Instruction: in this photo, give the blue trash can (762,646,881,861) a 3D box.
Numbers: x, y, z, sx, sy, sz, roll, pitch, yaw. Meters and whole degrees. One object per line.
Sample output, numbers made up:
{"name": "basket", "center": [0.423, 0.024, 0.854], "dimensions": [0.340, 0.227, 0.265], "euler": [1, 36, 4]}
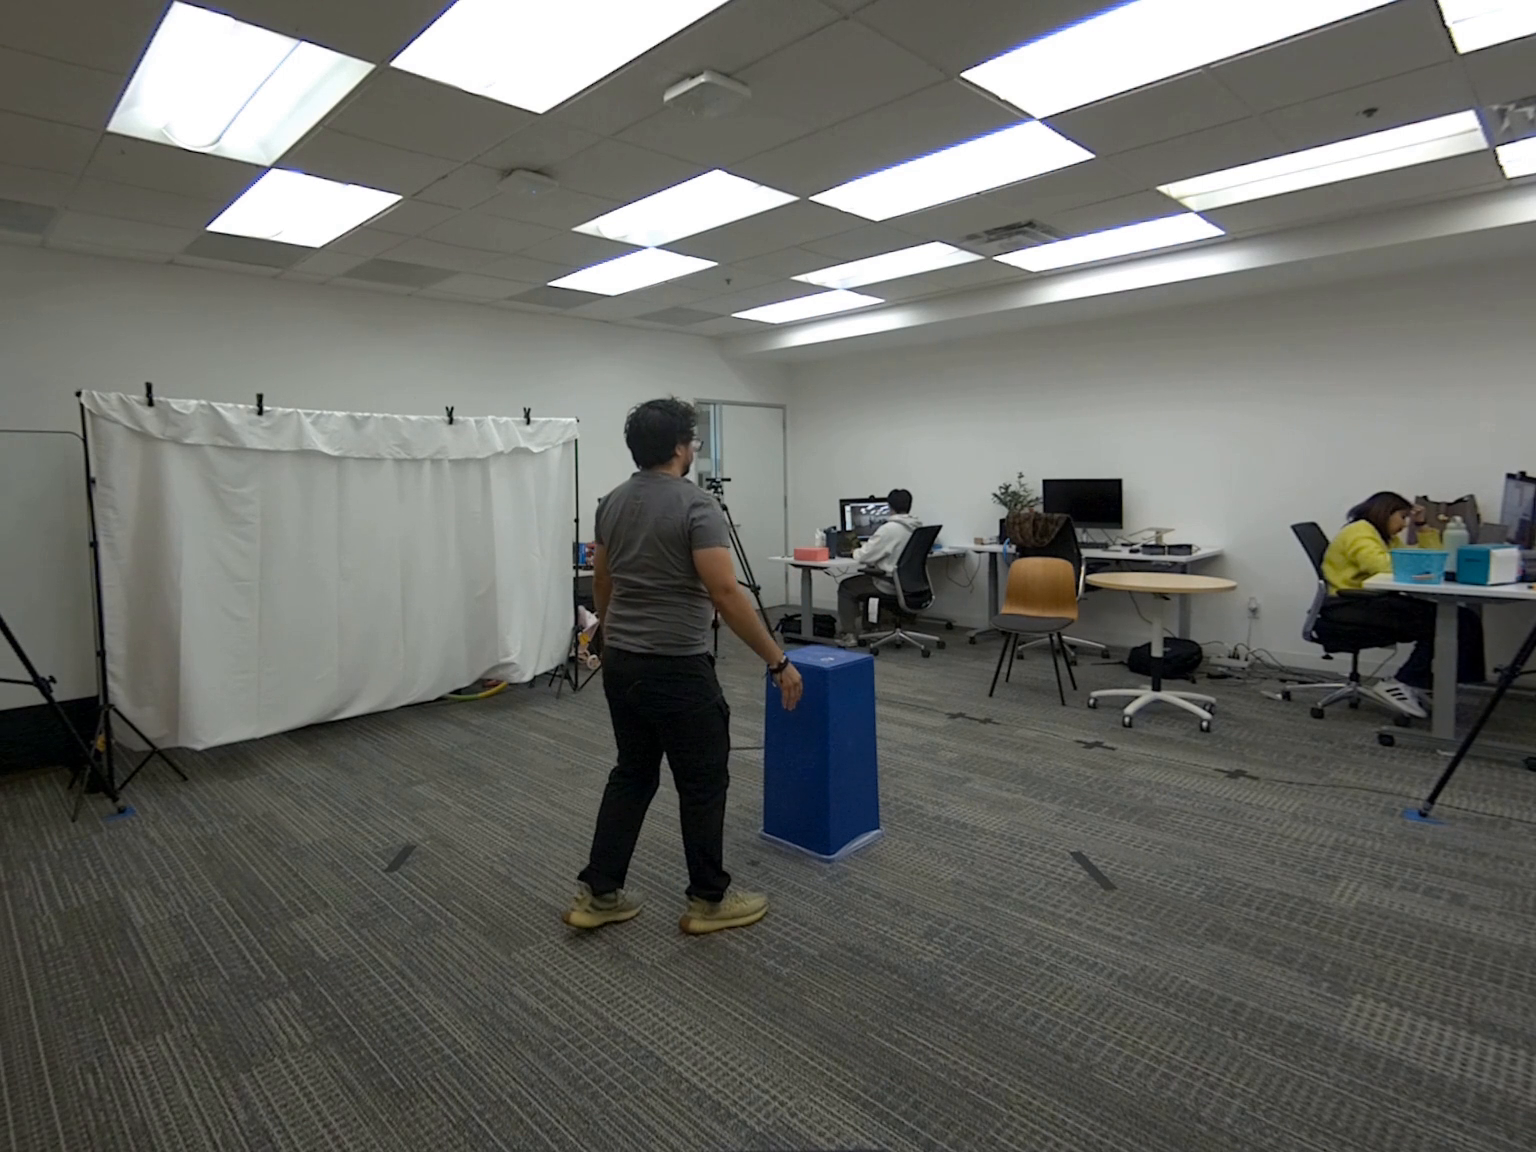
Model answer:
{"name": "blue trash can", "center": [0.212, 0.661, 3.309], "dimensions": [0.386, 0.710, 0.368], "euler": [4, 7, 44]}
